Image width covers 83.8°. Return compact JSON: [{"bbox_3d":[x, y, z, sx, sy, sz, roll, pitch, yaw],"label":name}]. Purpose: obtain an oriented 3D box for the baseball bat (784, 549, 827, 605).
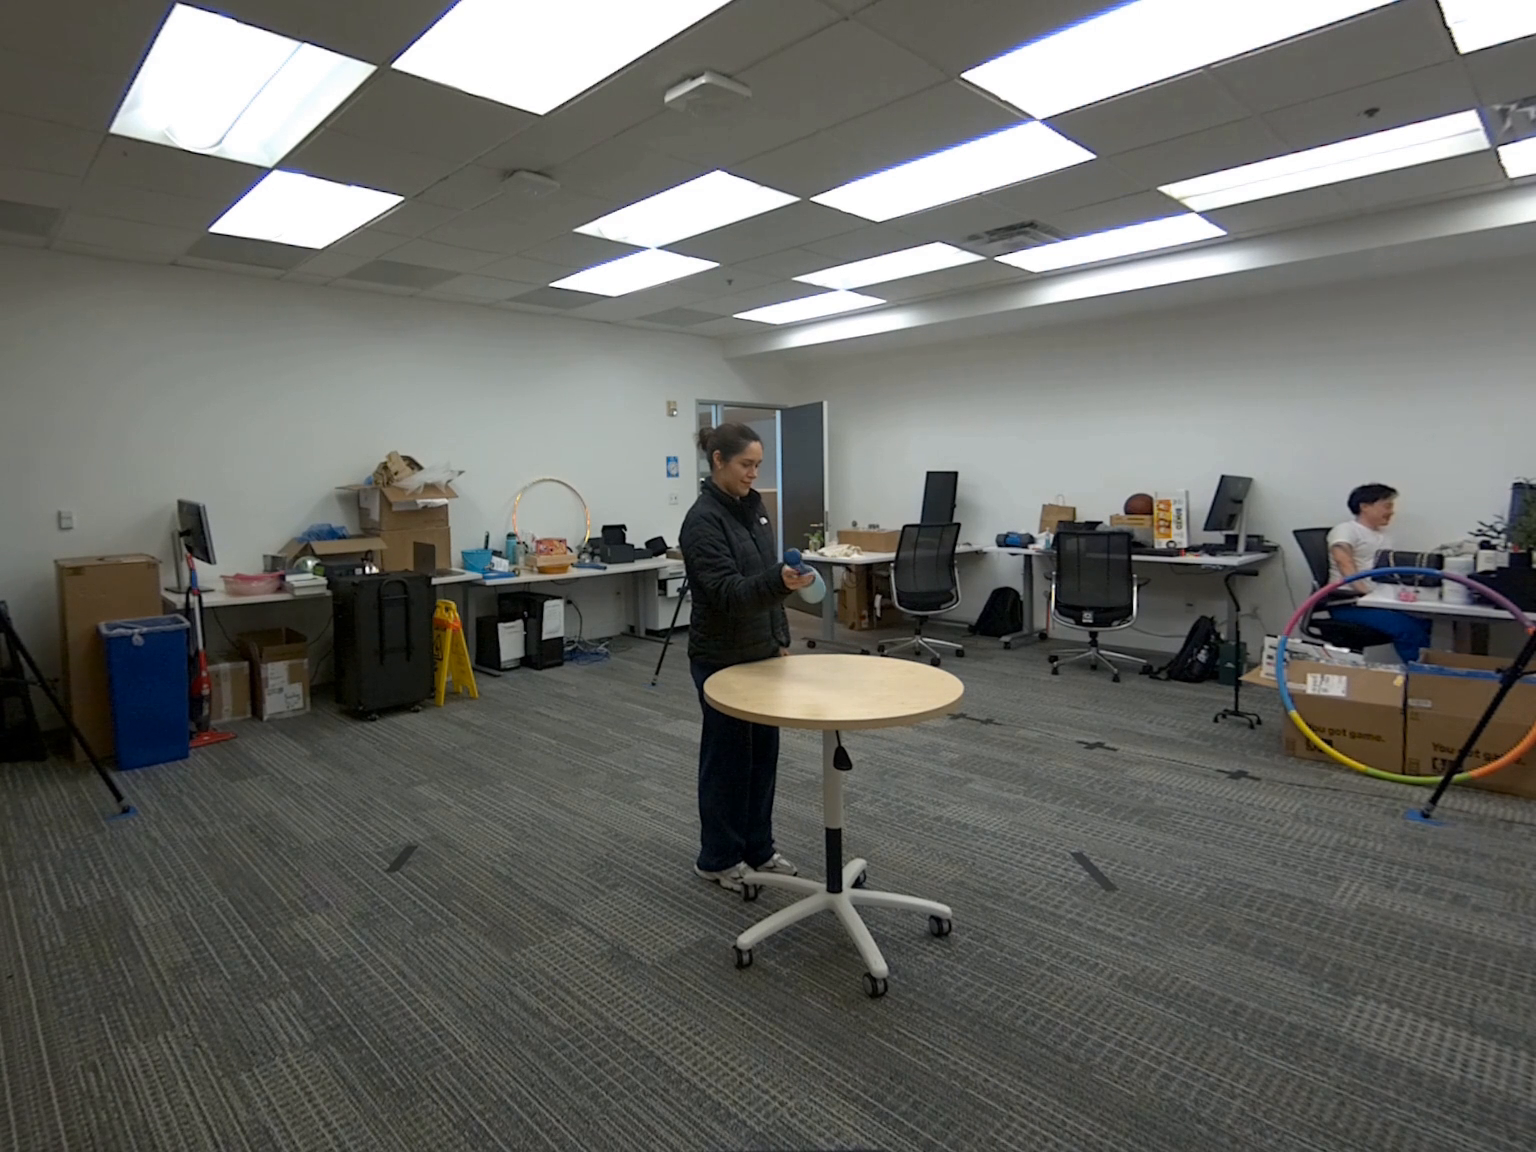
[{"bbox_3d":[0.111,-0.002,2.556,0.090,0.090,0.531,0,-11,11],"label":"baseball bat"}]
